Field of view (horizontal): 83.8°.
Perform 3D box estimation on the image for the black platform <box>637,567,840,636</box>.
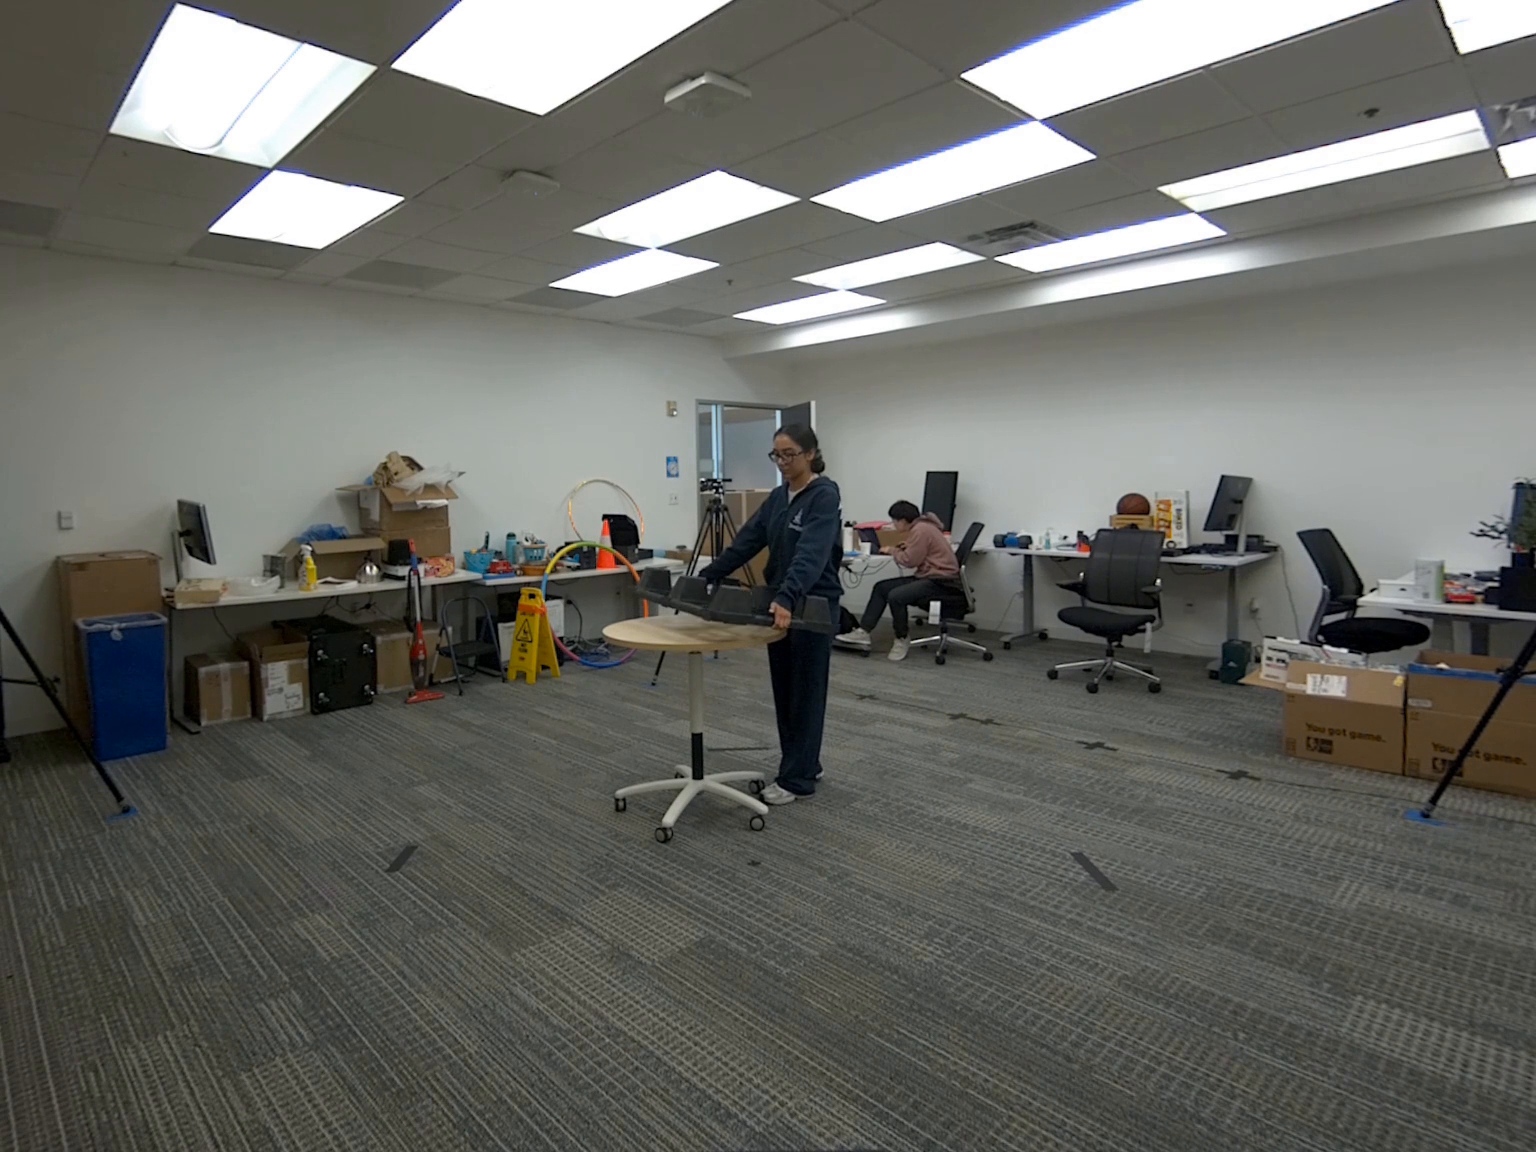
[{"bbox_3d":[-0.173,0.091,3.590,0.588,0.143,0.829,8,2,-32],"label":"black platform"}]
